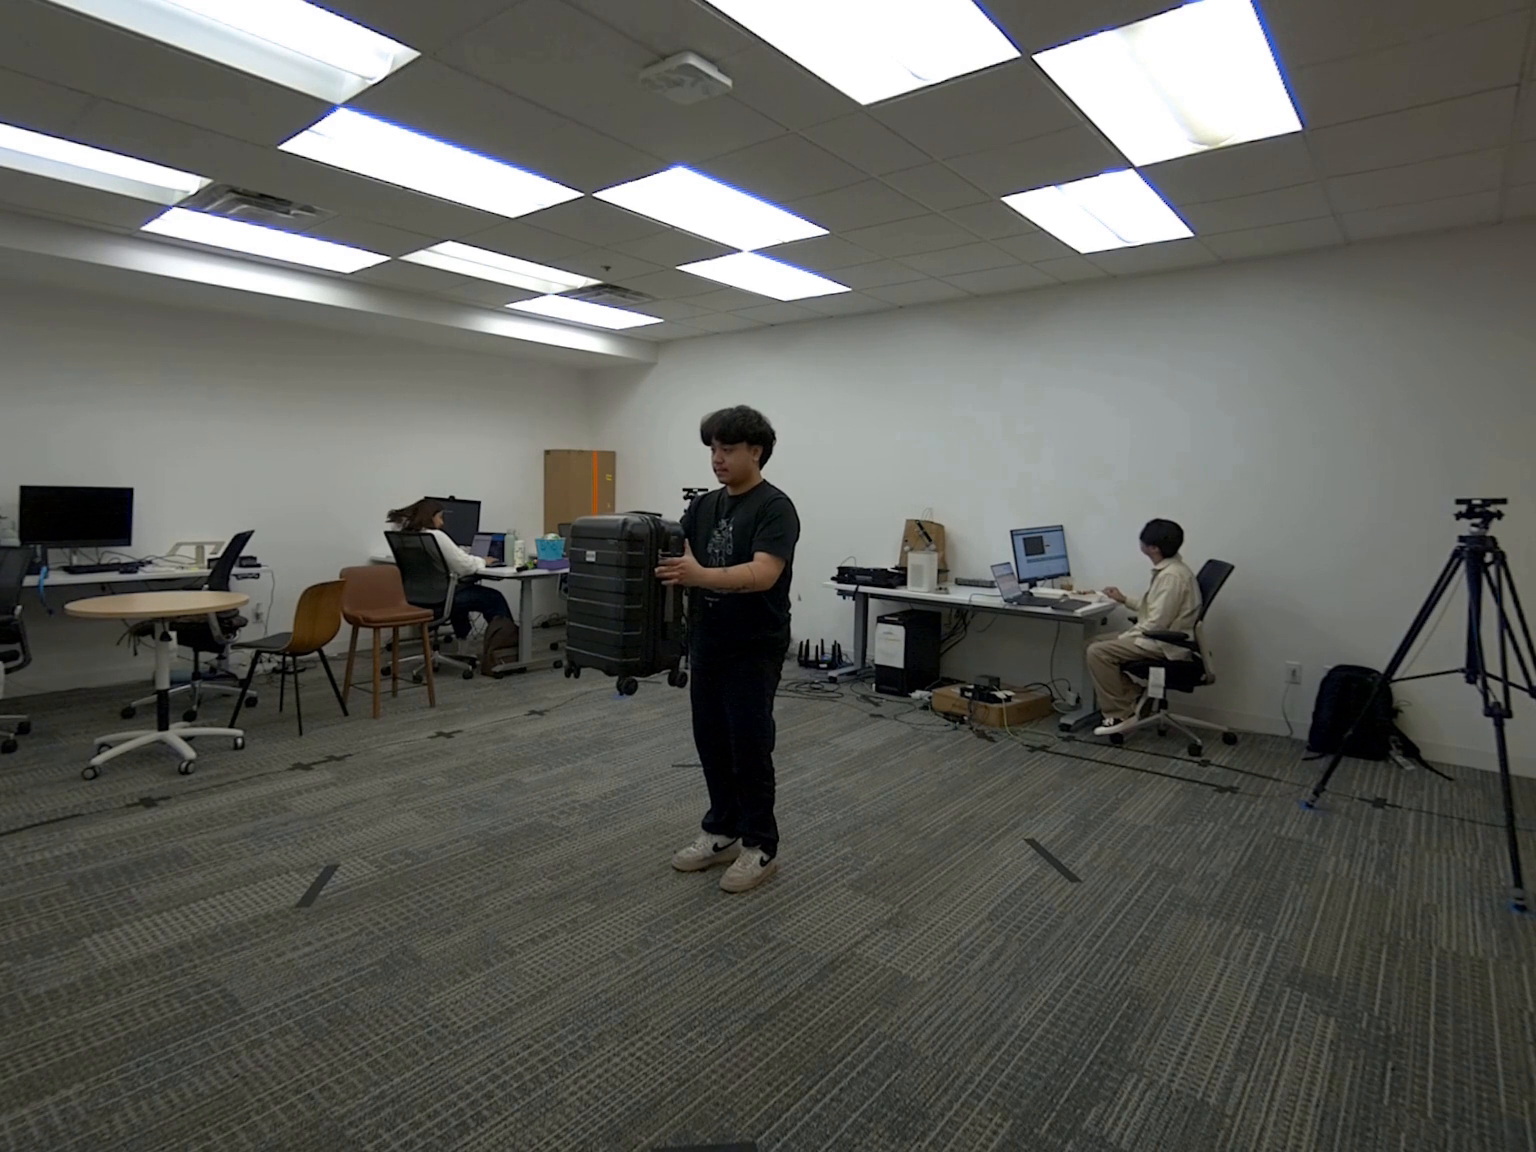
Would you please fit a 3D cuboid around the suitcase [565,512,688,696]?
[{"bbox_3d":[-0.471,0.069,2.725,0.240,0.549,0.388,1,2,-43],"label":"suitcase"}]
